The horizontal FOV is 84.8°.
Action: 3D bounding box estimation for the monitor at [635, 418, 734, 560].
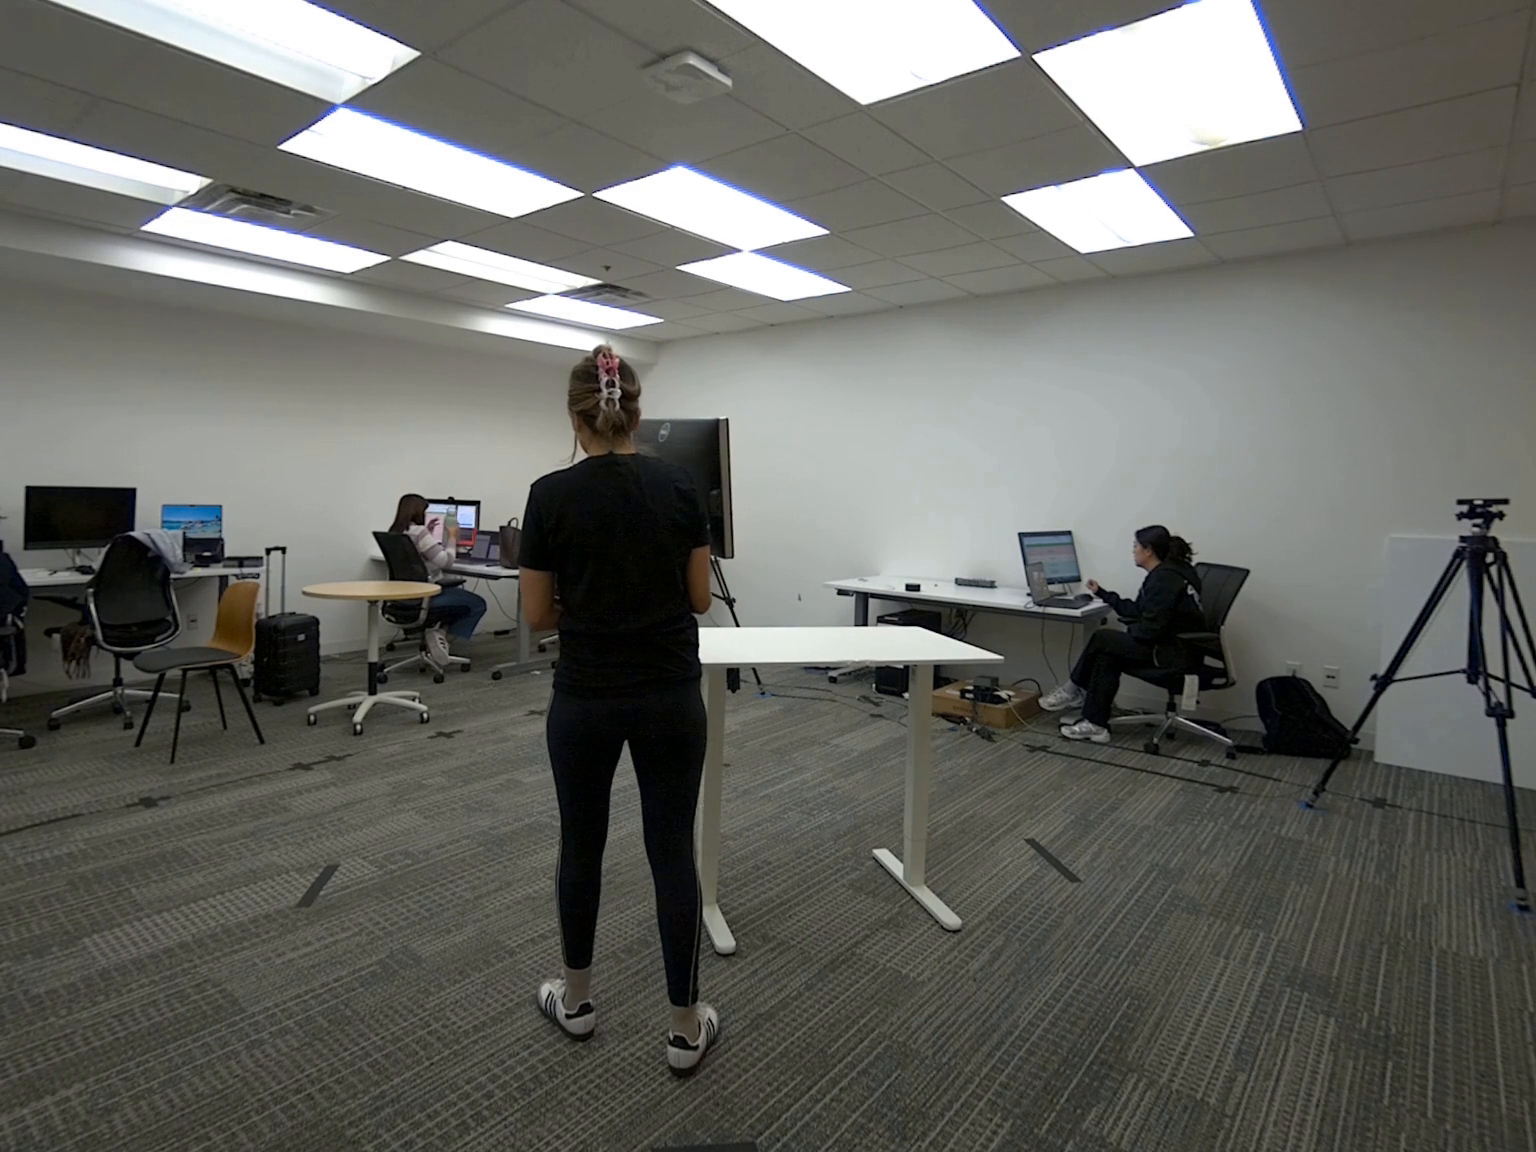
[{"bbox_3d":[-0.304,-0.176,2.390,0.181,0.521,0.558,7,4,-35],"label":"monitor"}]
